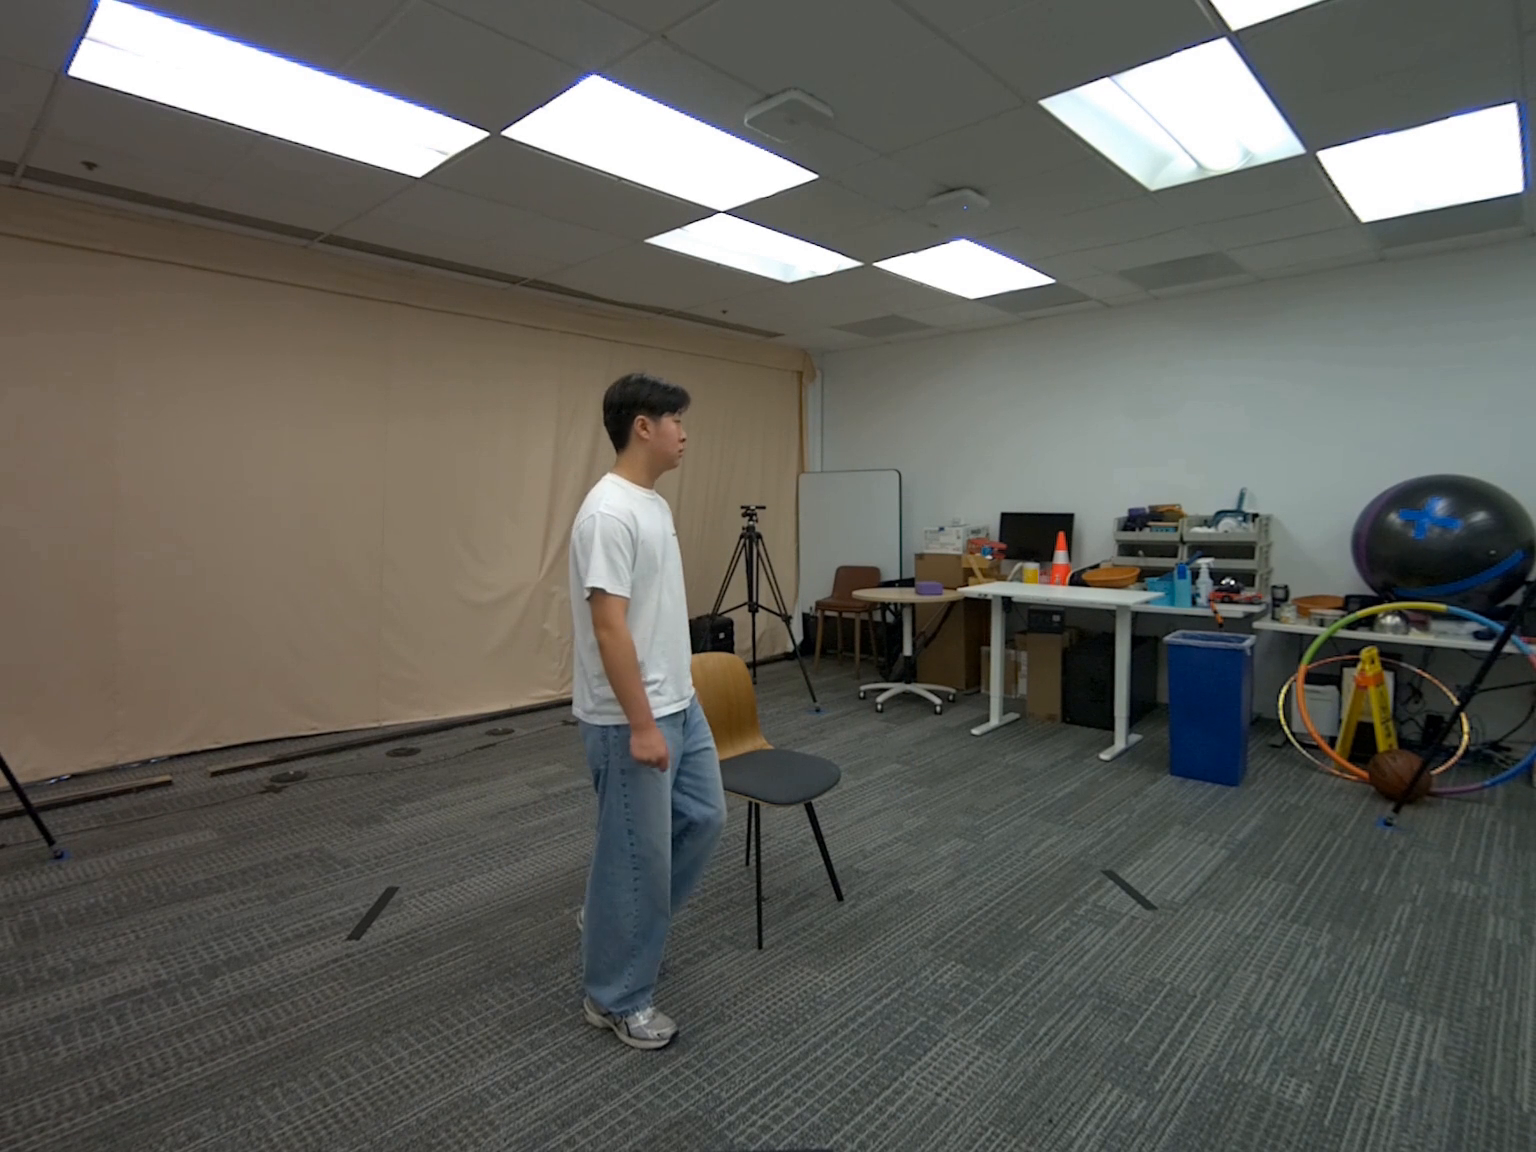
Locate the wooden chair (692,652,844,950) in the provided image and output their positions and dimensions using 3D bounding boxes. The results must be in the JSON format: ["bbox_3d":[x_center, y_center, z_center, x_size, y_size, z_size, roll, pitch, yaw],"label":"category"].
[{"bbox_3d":[-0.040,0.723,2.919,0.539,0.877,0.463,-3,0,42],"label":"wooden chair"}]
